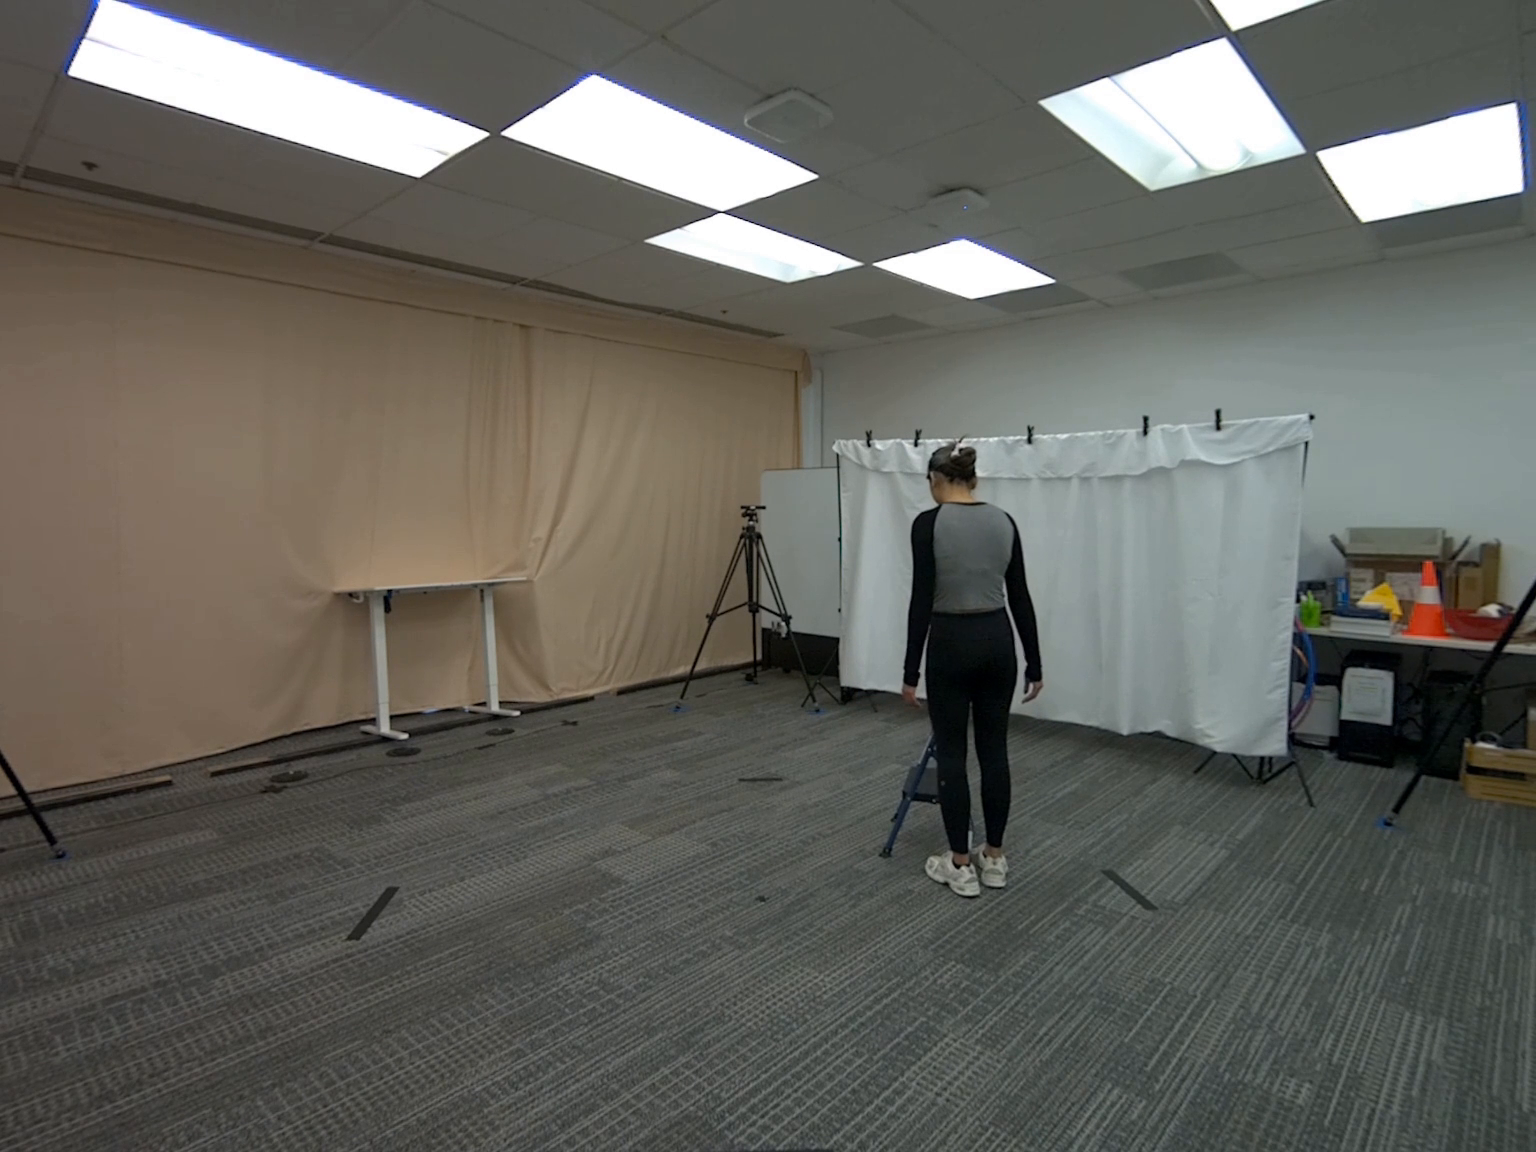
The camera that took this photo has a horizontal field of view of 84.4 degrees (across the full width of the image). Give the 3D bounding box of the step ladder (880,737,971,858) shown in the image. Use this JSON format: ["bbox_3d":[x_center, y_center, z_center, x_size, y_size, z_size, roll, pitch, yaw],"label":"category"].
[{"bbox_3d":[0.667,0.809,3.477,0.355,0.605,0.424,1,2,15],"label":"step ladder"}]
